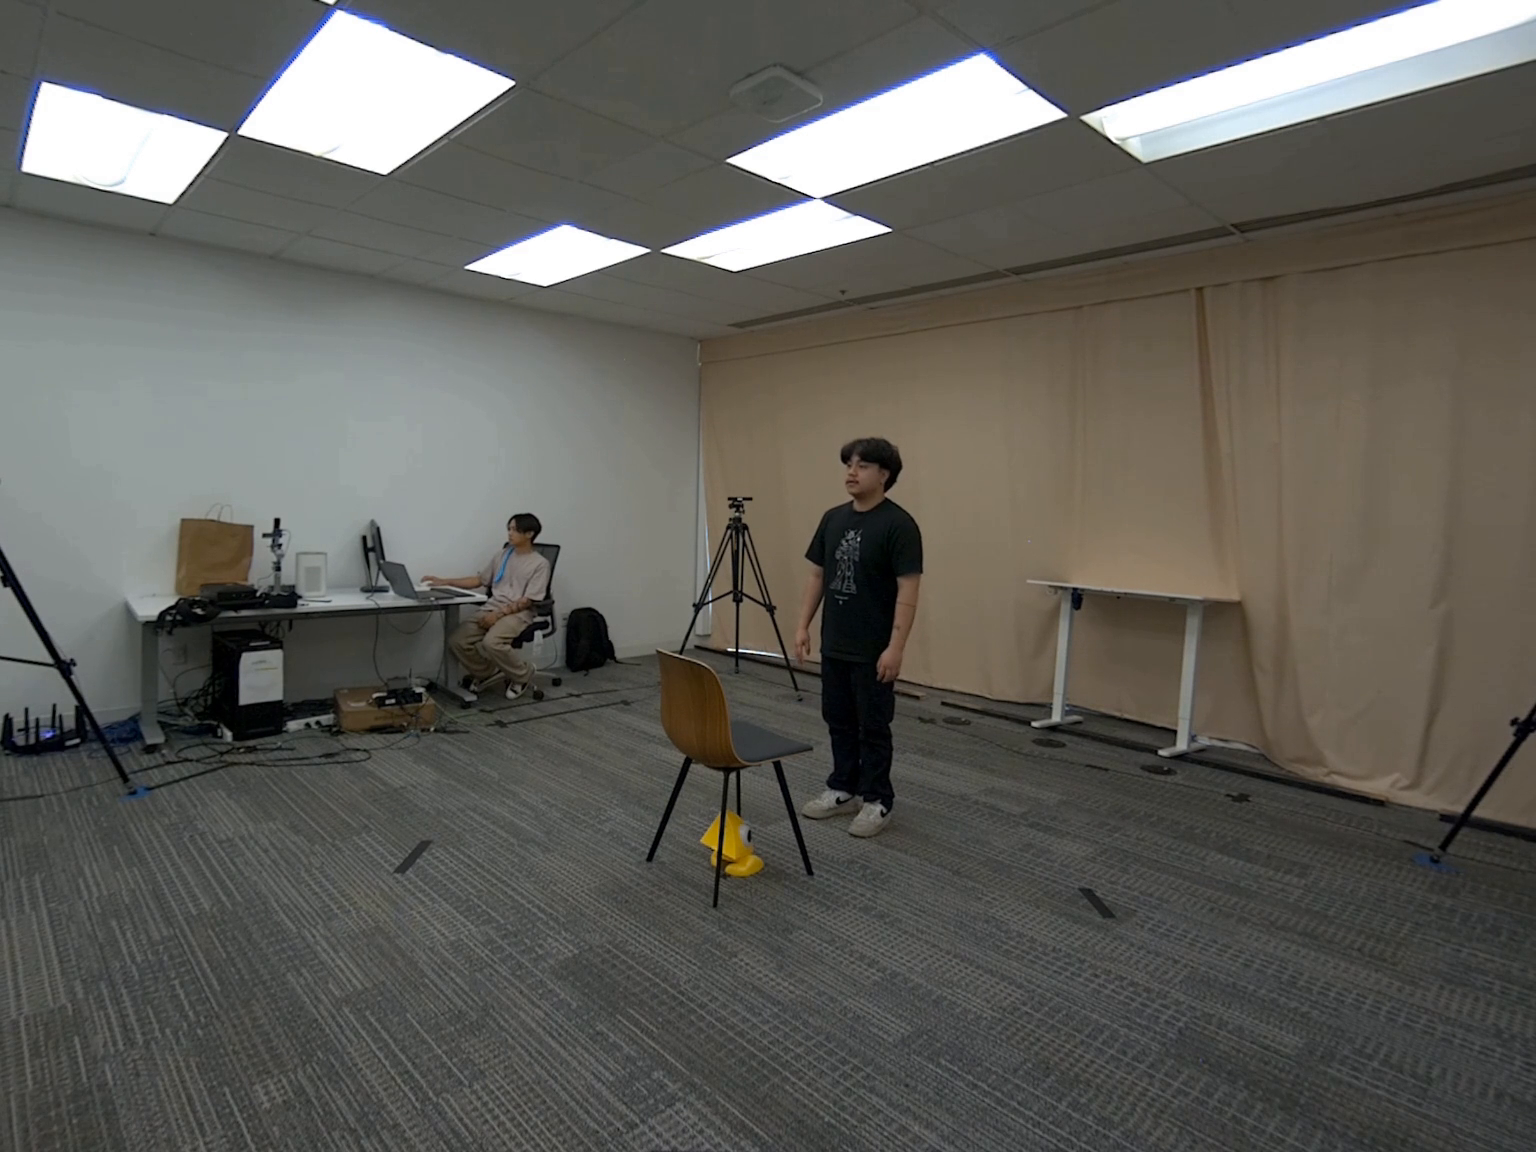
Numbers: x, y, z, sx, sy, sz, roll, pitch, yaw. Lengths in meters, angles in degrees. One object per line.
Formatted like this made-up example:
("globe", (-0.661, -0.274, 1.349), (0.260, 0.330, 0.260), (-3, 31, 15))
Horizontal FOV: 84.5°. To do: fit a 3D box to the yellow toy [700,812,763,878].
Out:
("yellow toy", (-0.130, 0.988, 3.198), (0.188, 0.230, 0.210), (-1, 5, -42))
